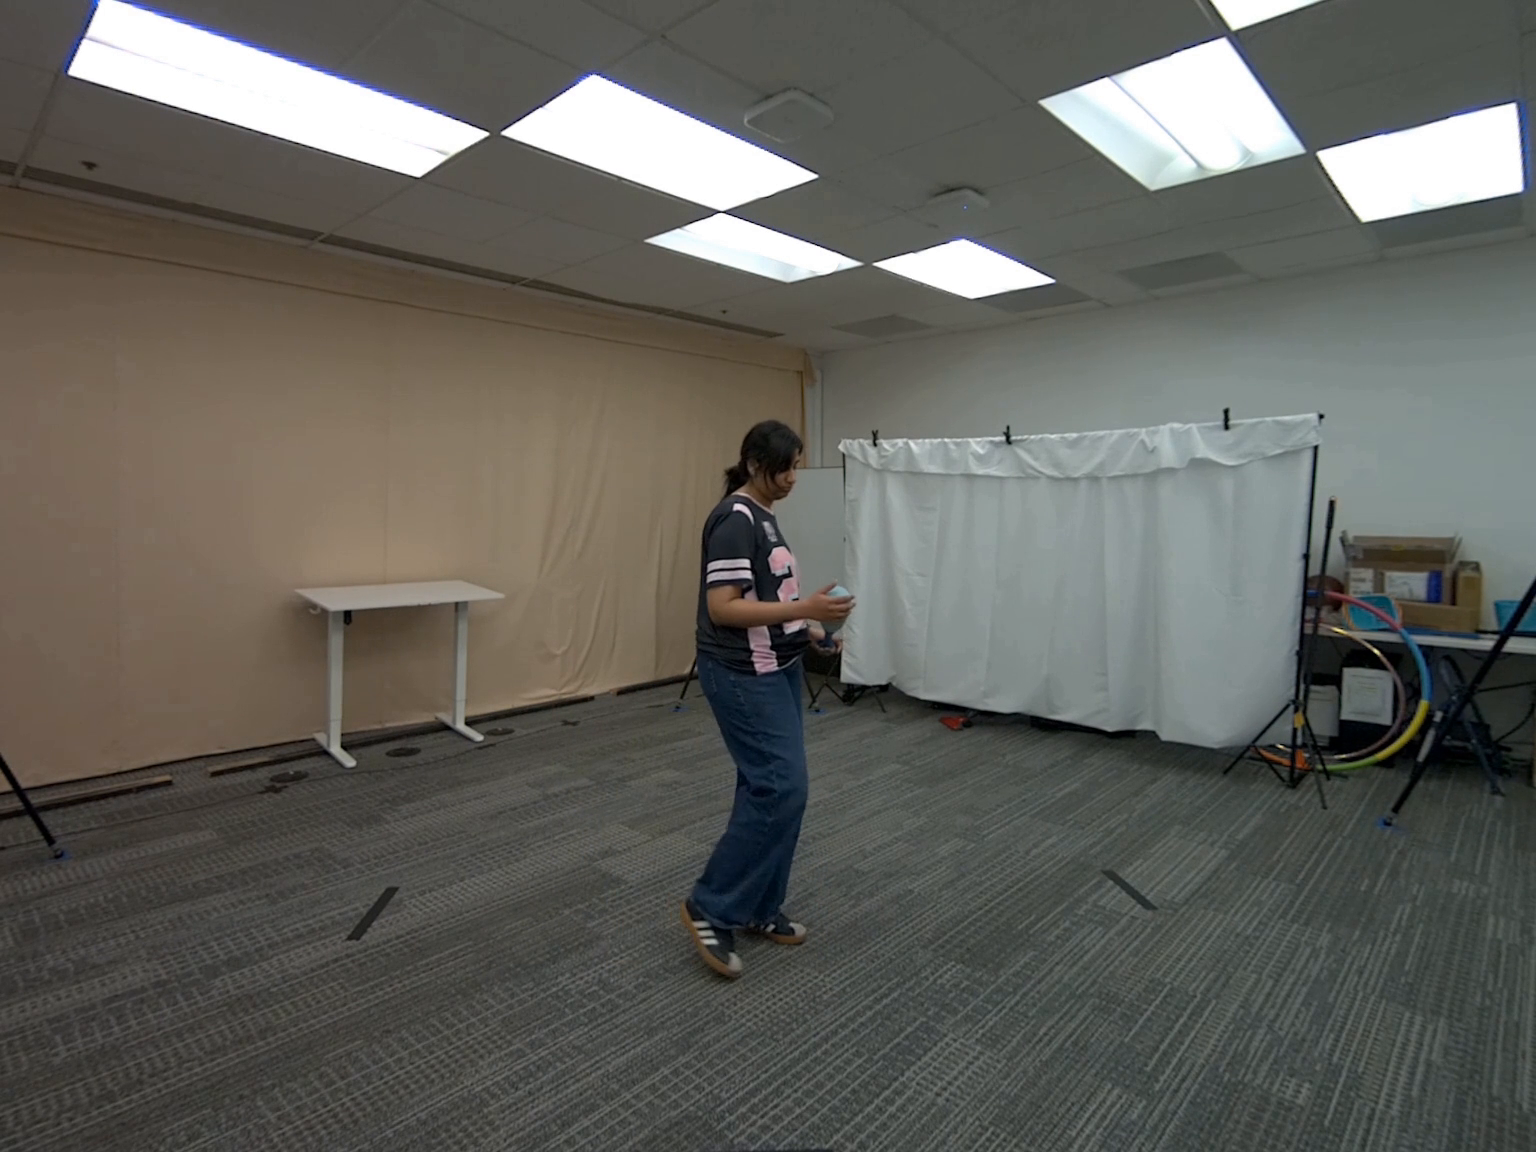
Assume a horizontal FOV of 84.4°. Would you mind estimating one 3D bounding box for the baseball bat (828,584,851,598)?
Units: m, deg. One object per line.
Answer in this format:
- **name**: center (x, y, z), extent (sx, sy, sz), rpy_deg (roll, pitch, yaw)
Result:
- **baseball bat**: center (0.202, 0.156, 2.666), extent (0.089, 0.090, 0.537), rpy_deg (0, -21, -3)
